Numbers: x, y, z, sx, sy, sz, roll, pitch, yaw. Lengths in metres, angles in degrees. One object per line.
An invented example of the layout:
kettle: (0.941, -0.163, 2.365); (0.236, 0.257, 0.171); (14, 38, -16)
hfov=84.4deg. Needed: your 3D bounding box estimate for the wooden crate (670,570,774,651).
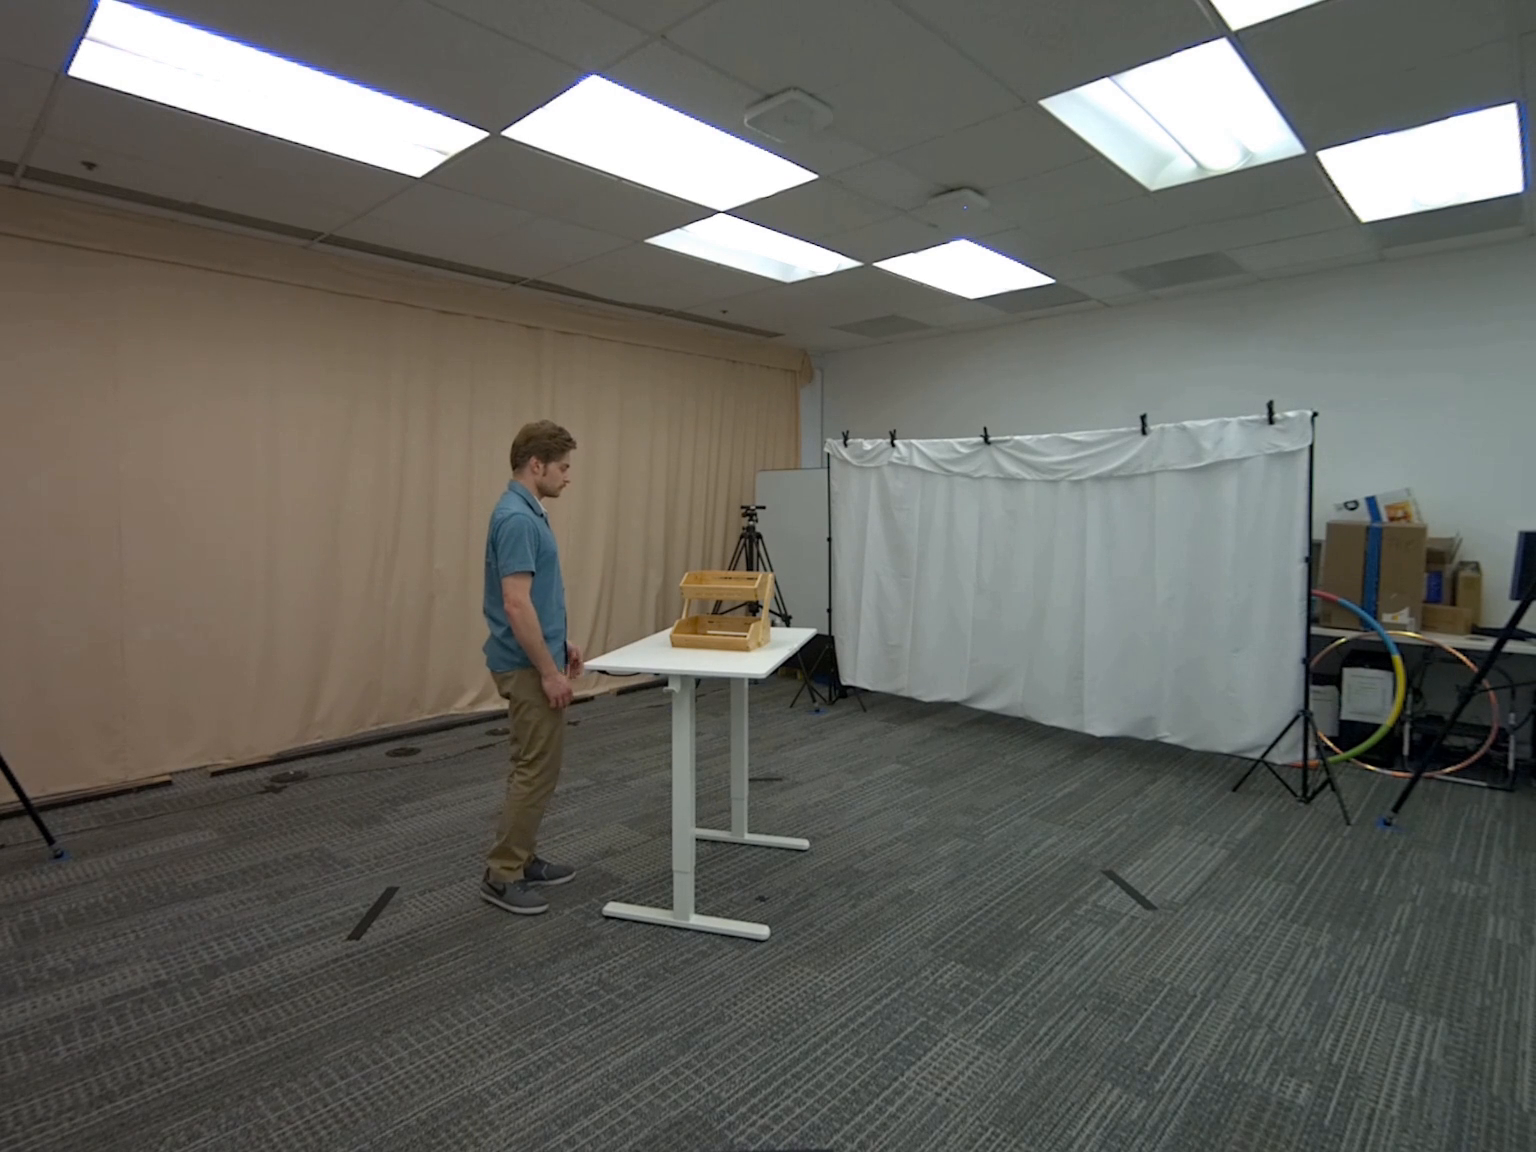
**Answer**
wooden crate: (-0.164, 0.120, 3.100); (0.331, 0.273, 0.296); (1, 3, 20)
